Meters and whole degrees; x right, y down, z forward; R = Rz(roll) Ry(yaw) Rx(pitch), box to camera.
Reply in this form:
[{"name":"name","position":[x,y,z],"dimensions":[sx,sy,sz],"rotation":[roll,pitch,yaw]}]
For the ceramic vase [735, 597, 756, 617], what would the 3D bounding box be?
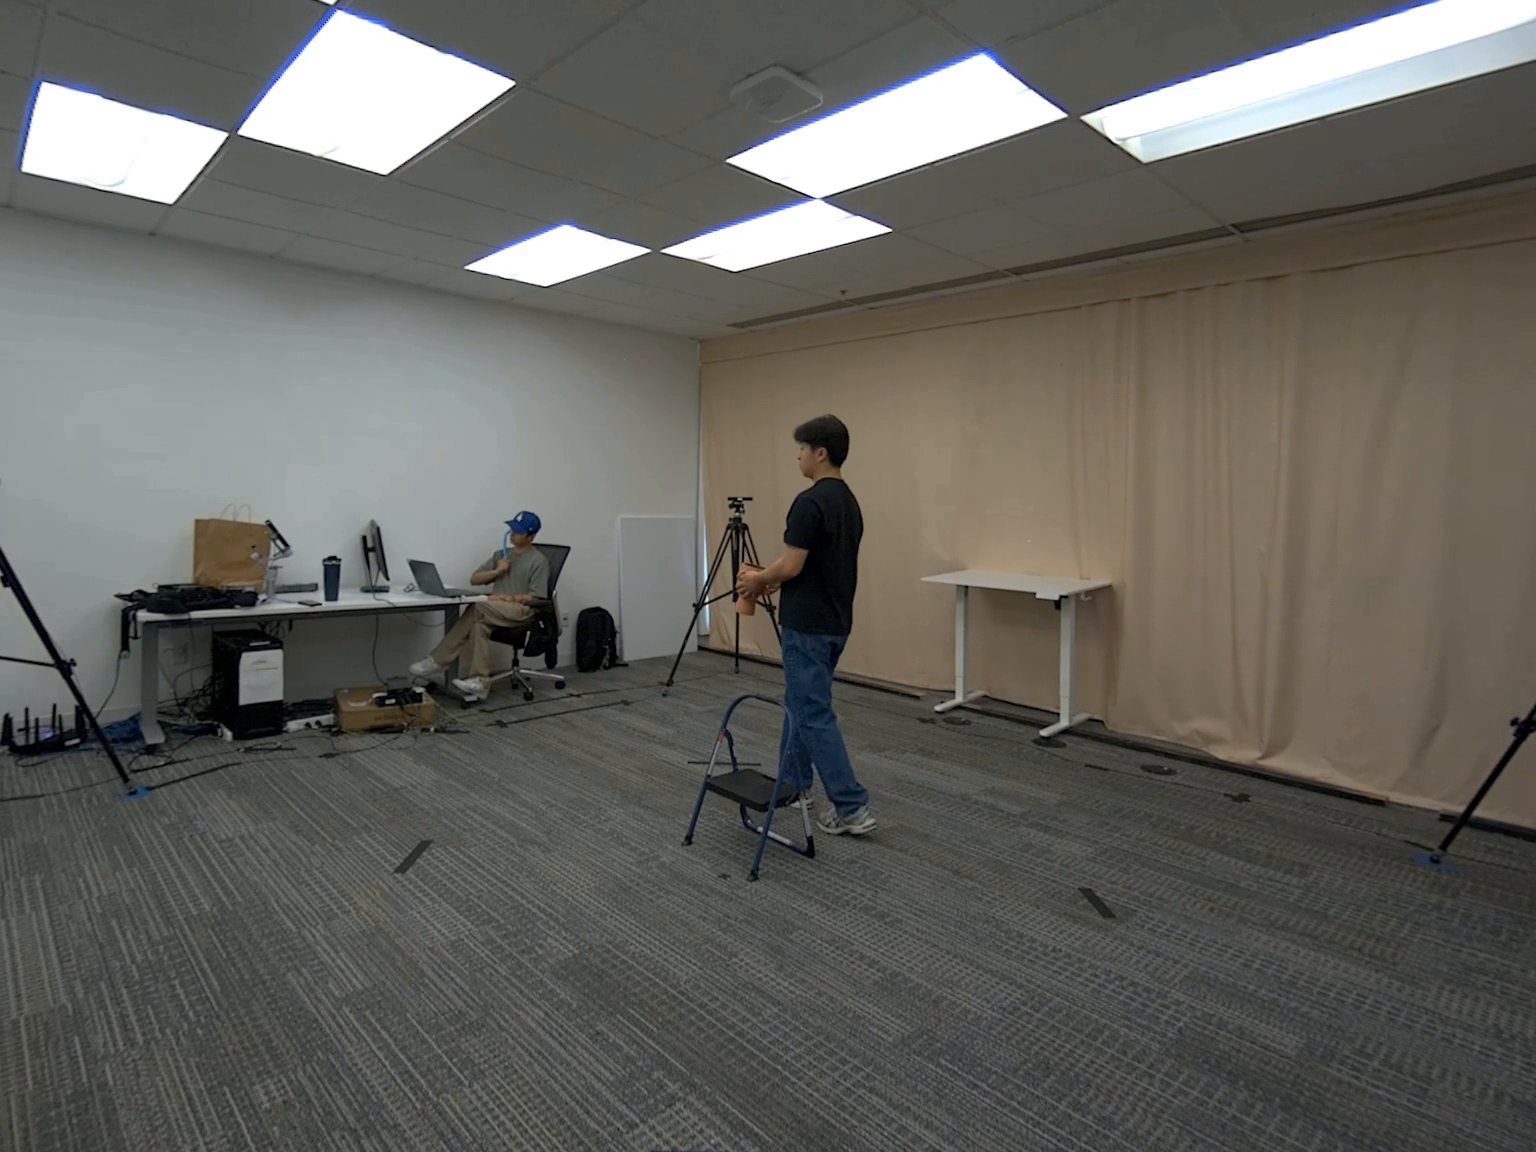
[{"name":"ceramic vase","position":[-0.073,0.065,3.831],"dimensions":[0.158,0.219,0.136],"rotation":[14,8,-5]}]
